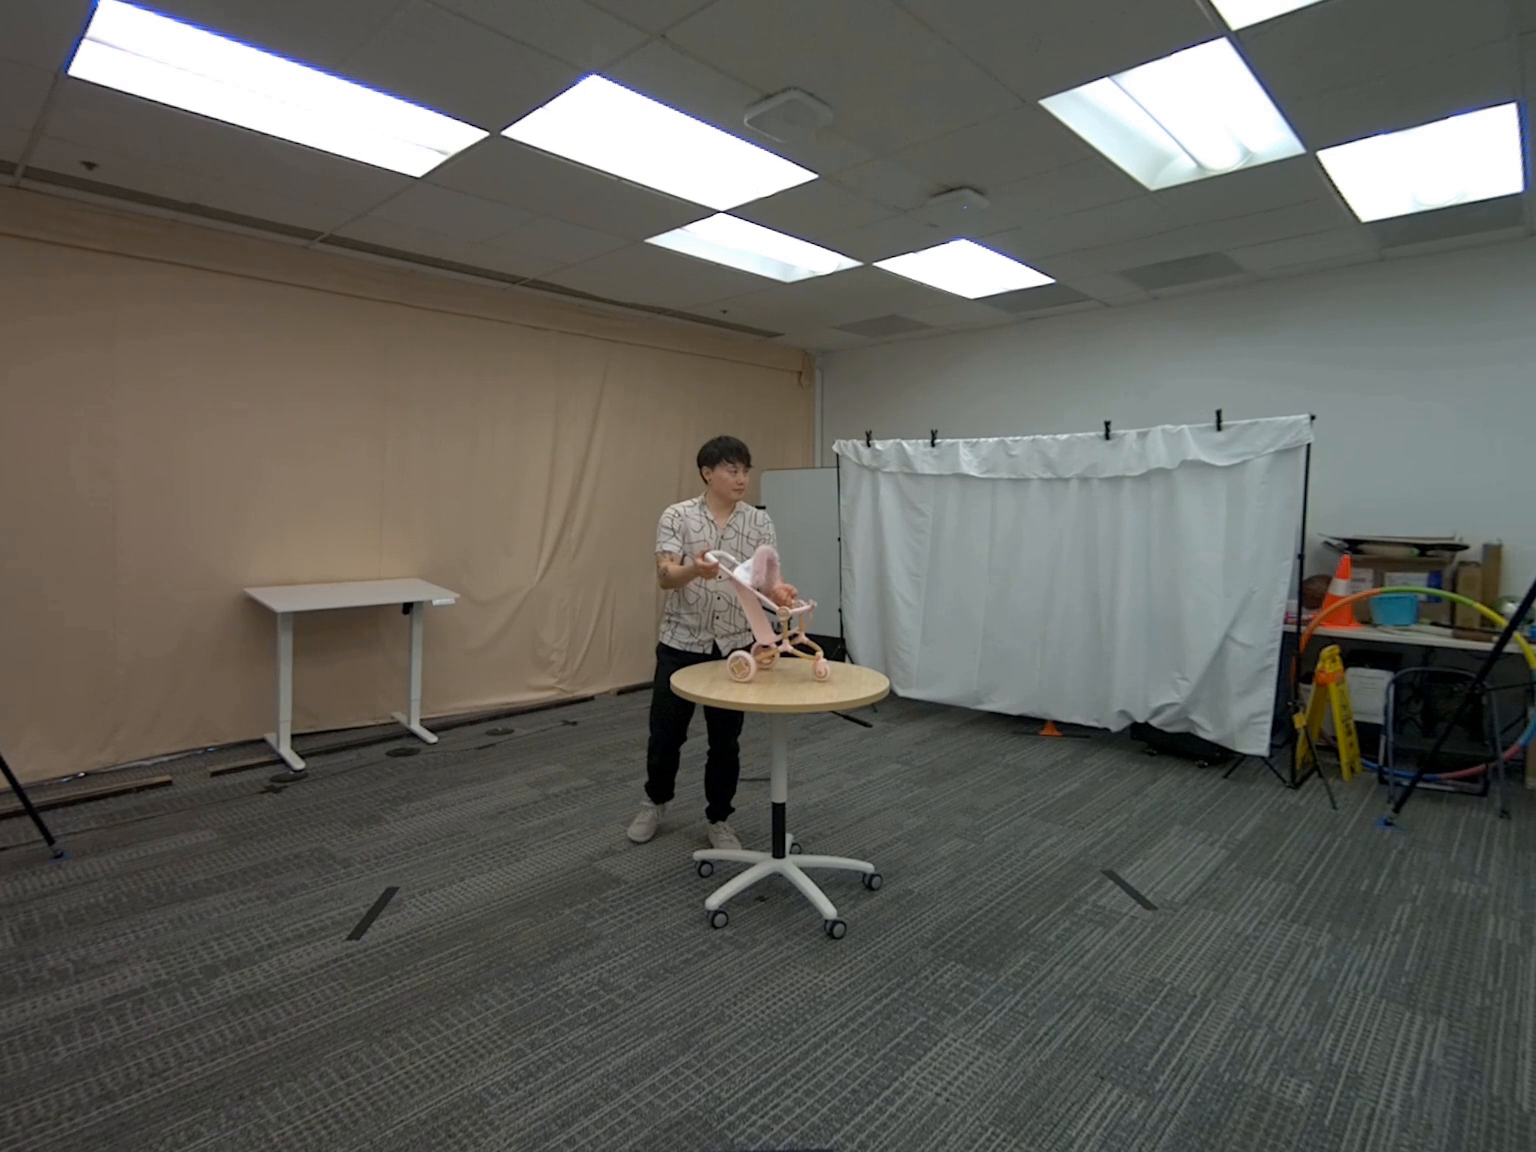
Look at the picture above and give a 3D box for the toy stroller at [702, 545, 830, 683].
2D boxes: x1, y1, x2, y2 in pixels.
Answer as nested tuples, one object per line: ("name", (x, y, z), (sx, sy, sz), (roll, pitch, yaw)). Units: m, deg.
("toy stroller", (0.017, 0.135, 2.966), (0.348, 0.536, 0.275), (-15, -3, 25))
